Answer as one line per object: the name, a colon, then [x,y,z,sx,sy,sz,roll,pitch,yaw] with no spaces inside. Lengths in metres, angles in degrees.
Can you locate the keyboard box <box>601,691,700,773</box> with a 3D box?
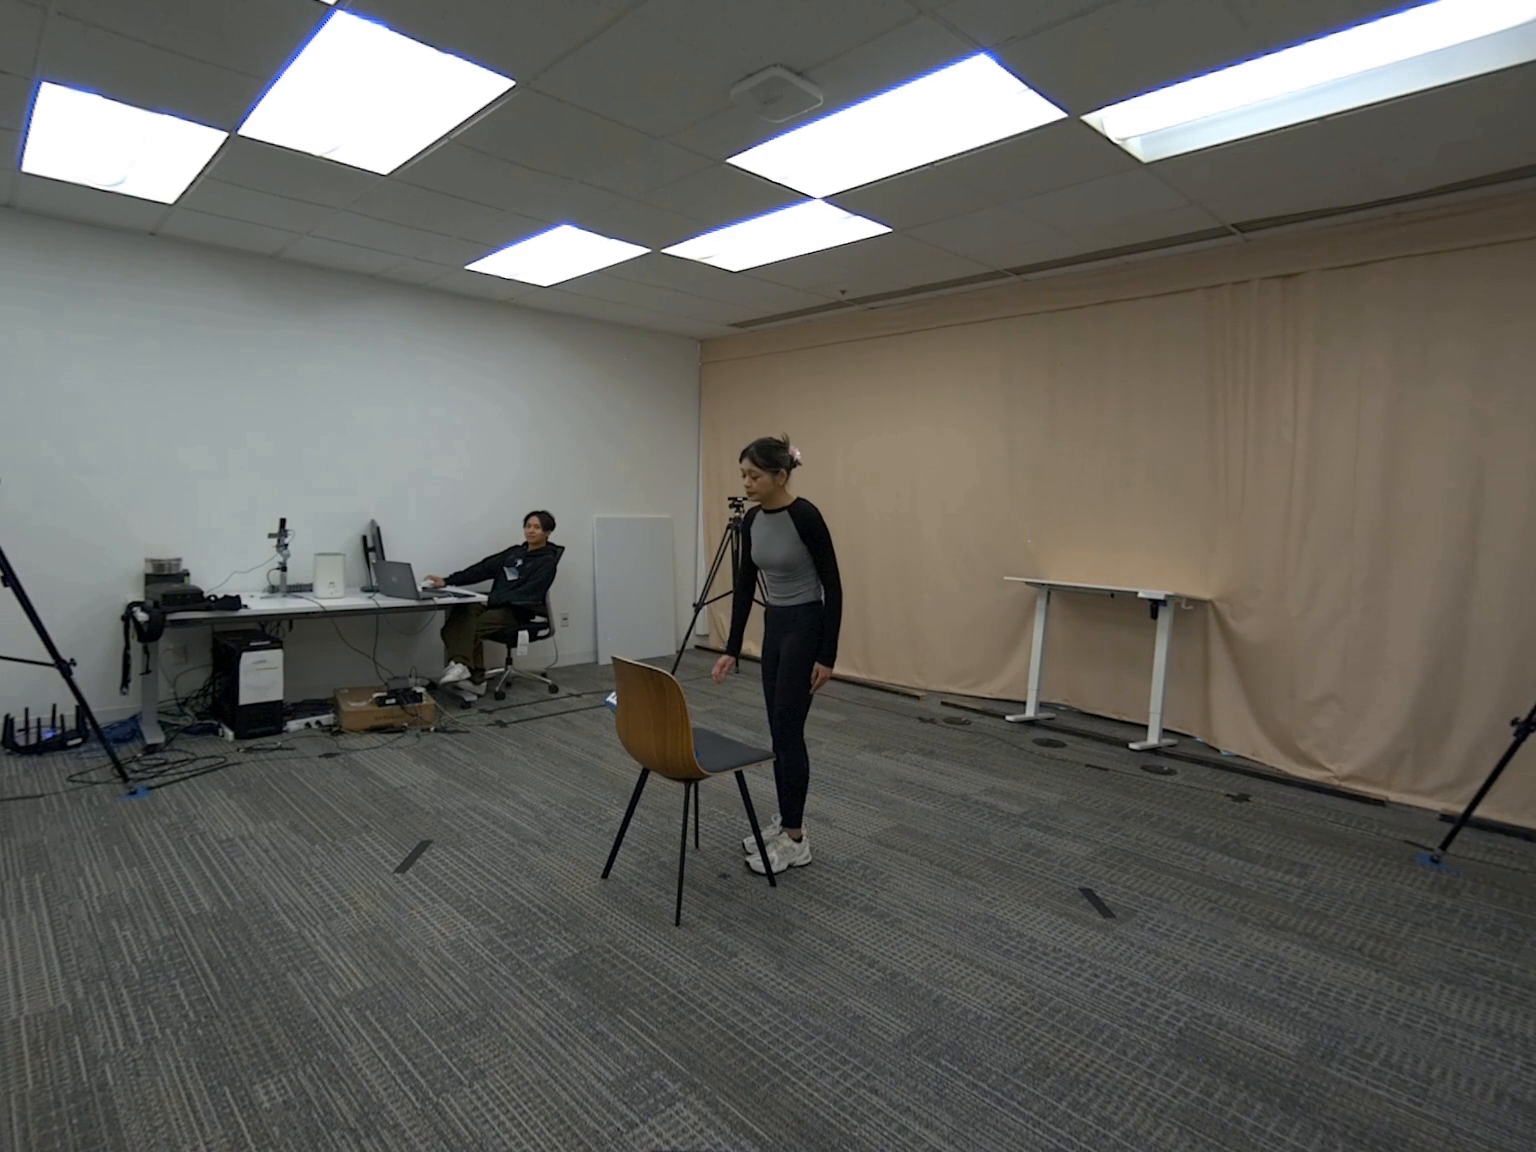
keyboard box: [-0.428,0.548,3.020,0.059,0.171,0.448,-44,31,-23]
